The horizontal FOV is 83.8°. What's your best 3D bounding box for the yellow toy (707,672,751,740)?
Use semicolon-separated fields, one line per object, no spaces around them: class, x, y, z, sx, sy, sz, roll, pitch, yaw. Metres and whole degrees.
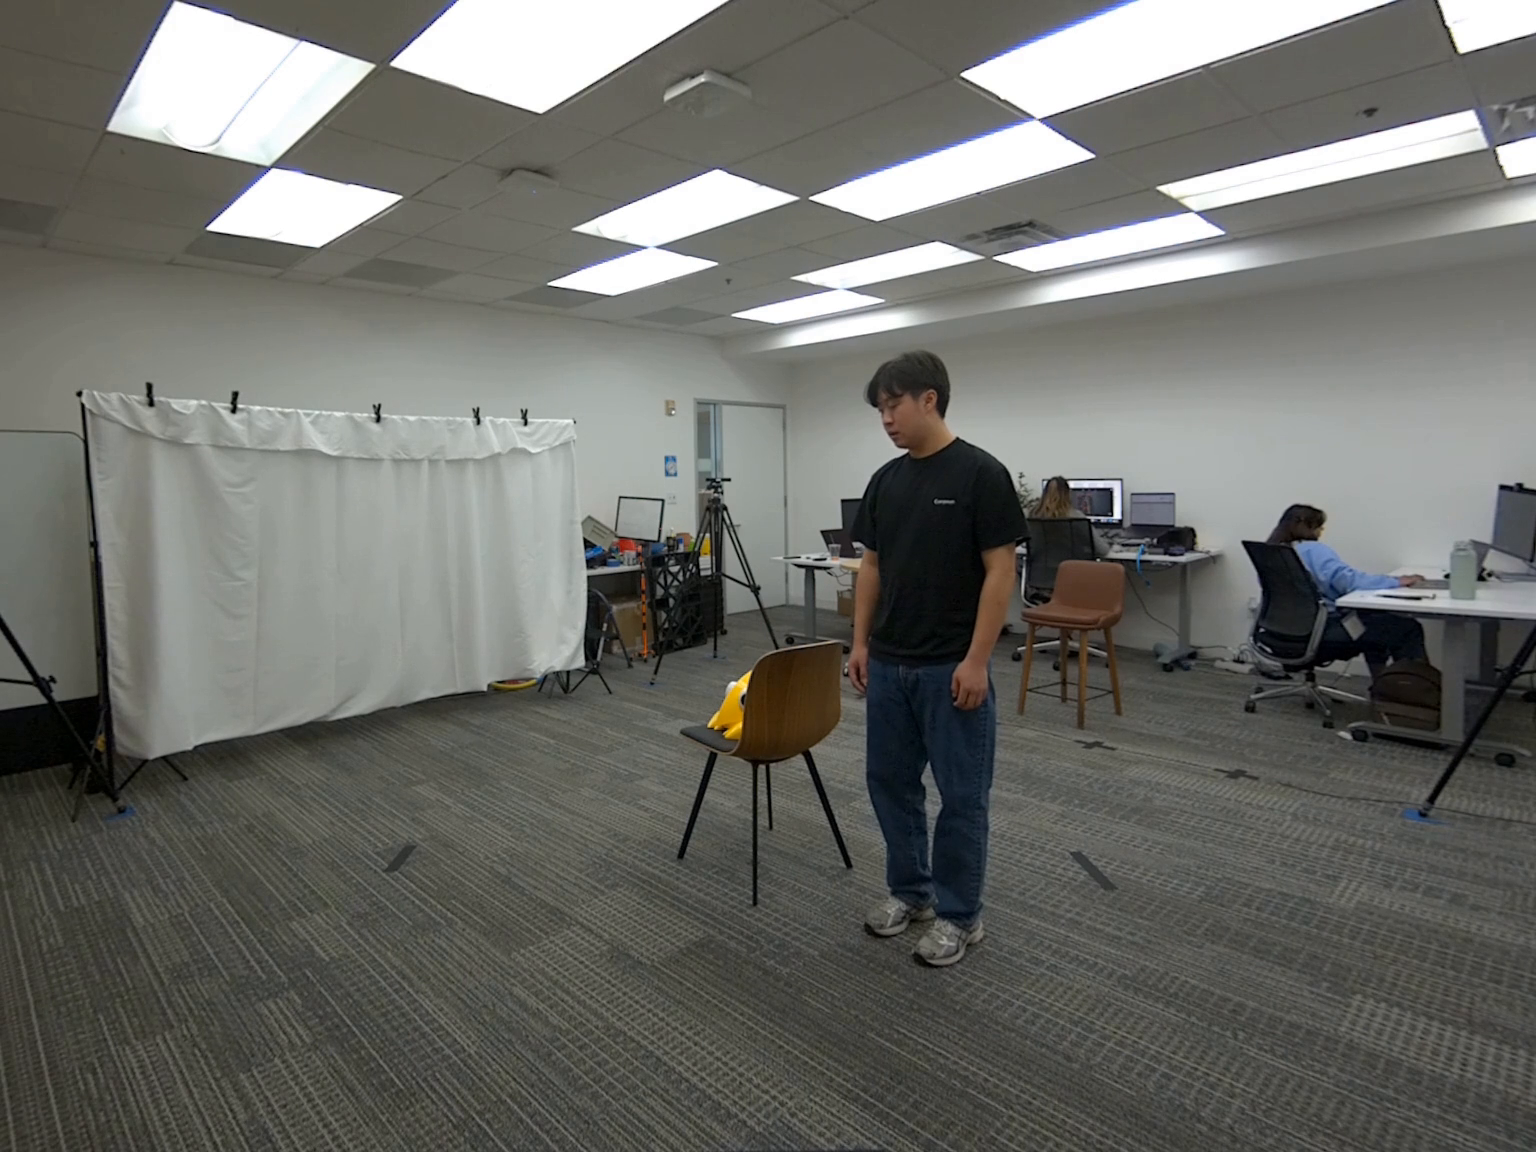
yellow toy;-0.094;0.451;3.097;0.188;0.230;0.211;1;6;-32
